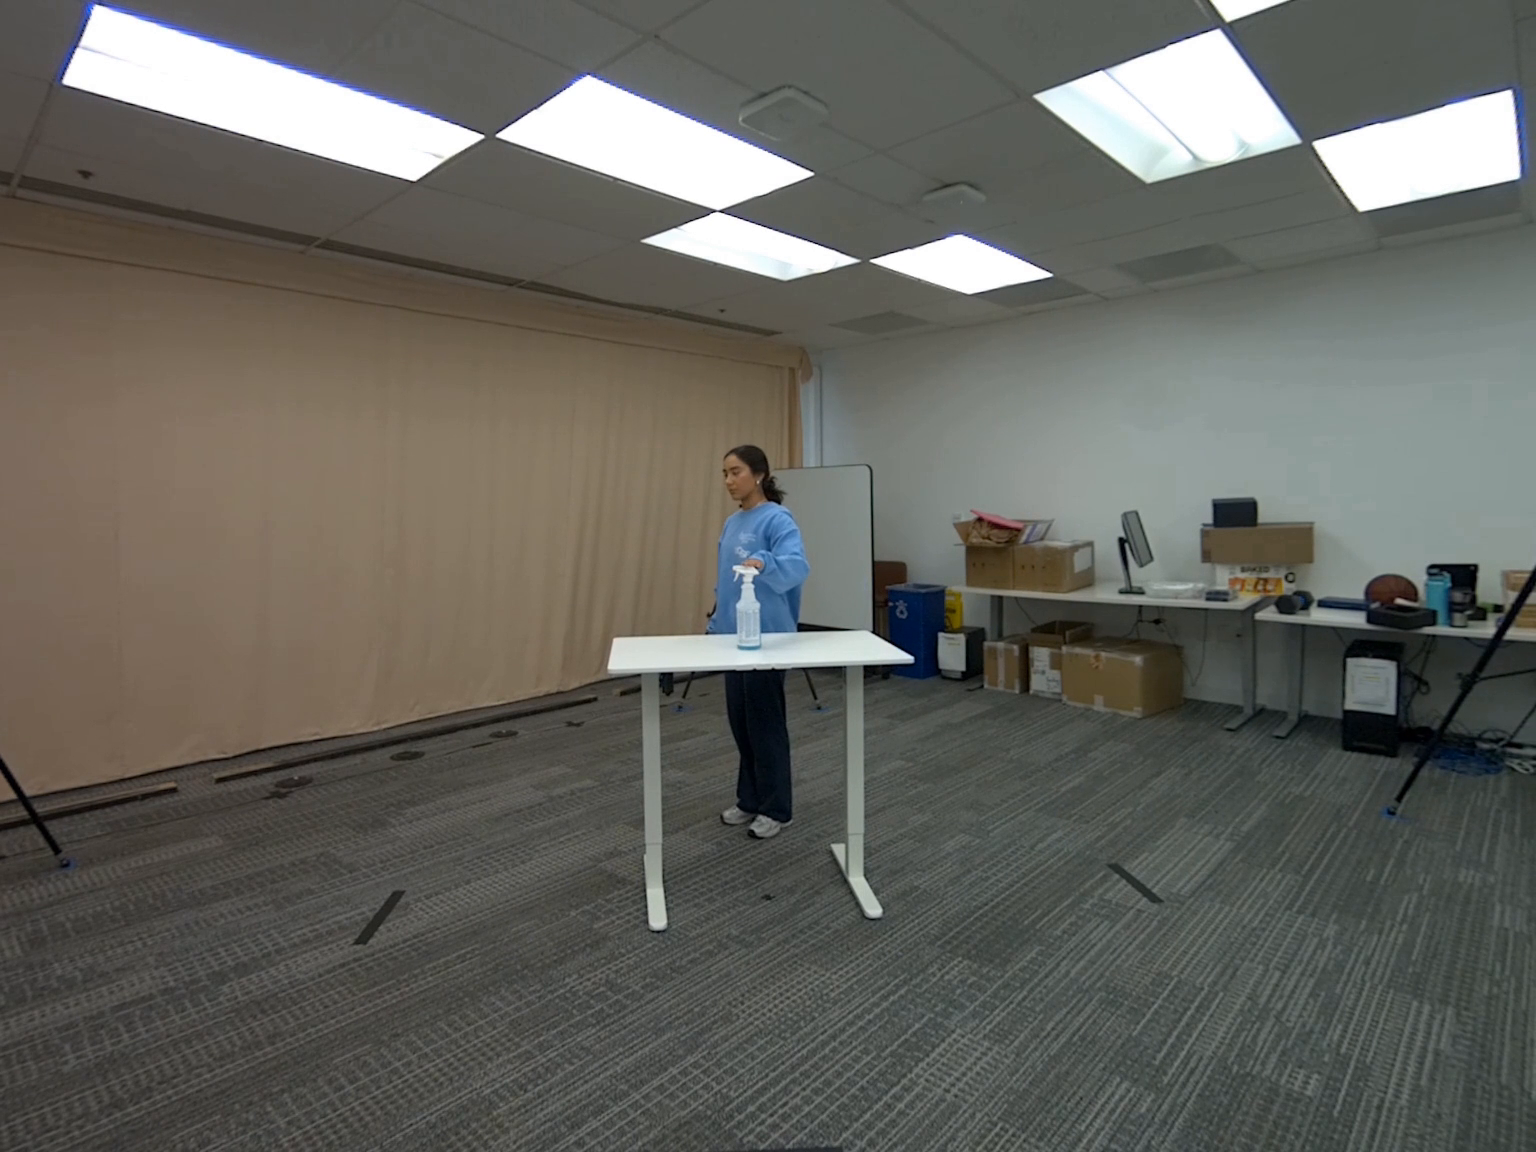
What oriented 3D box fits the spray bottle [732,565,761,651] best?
[{"bbox_3d":[-0.067,0.111,2.994,0.092,0.297,0.085,-2,3,18],"label":"spray bottle"}]
